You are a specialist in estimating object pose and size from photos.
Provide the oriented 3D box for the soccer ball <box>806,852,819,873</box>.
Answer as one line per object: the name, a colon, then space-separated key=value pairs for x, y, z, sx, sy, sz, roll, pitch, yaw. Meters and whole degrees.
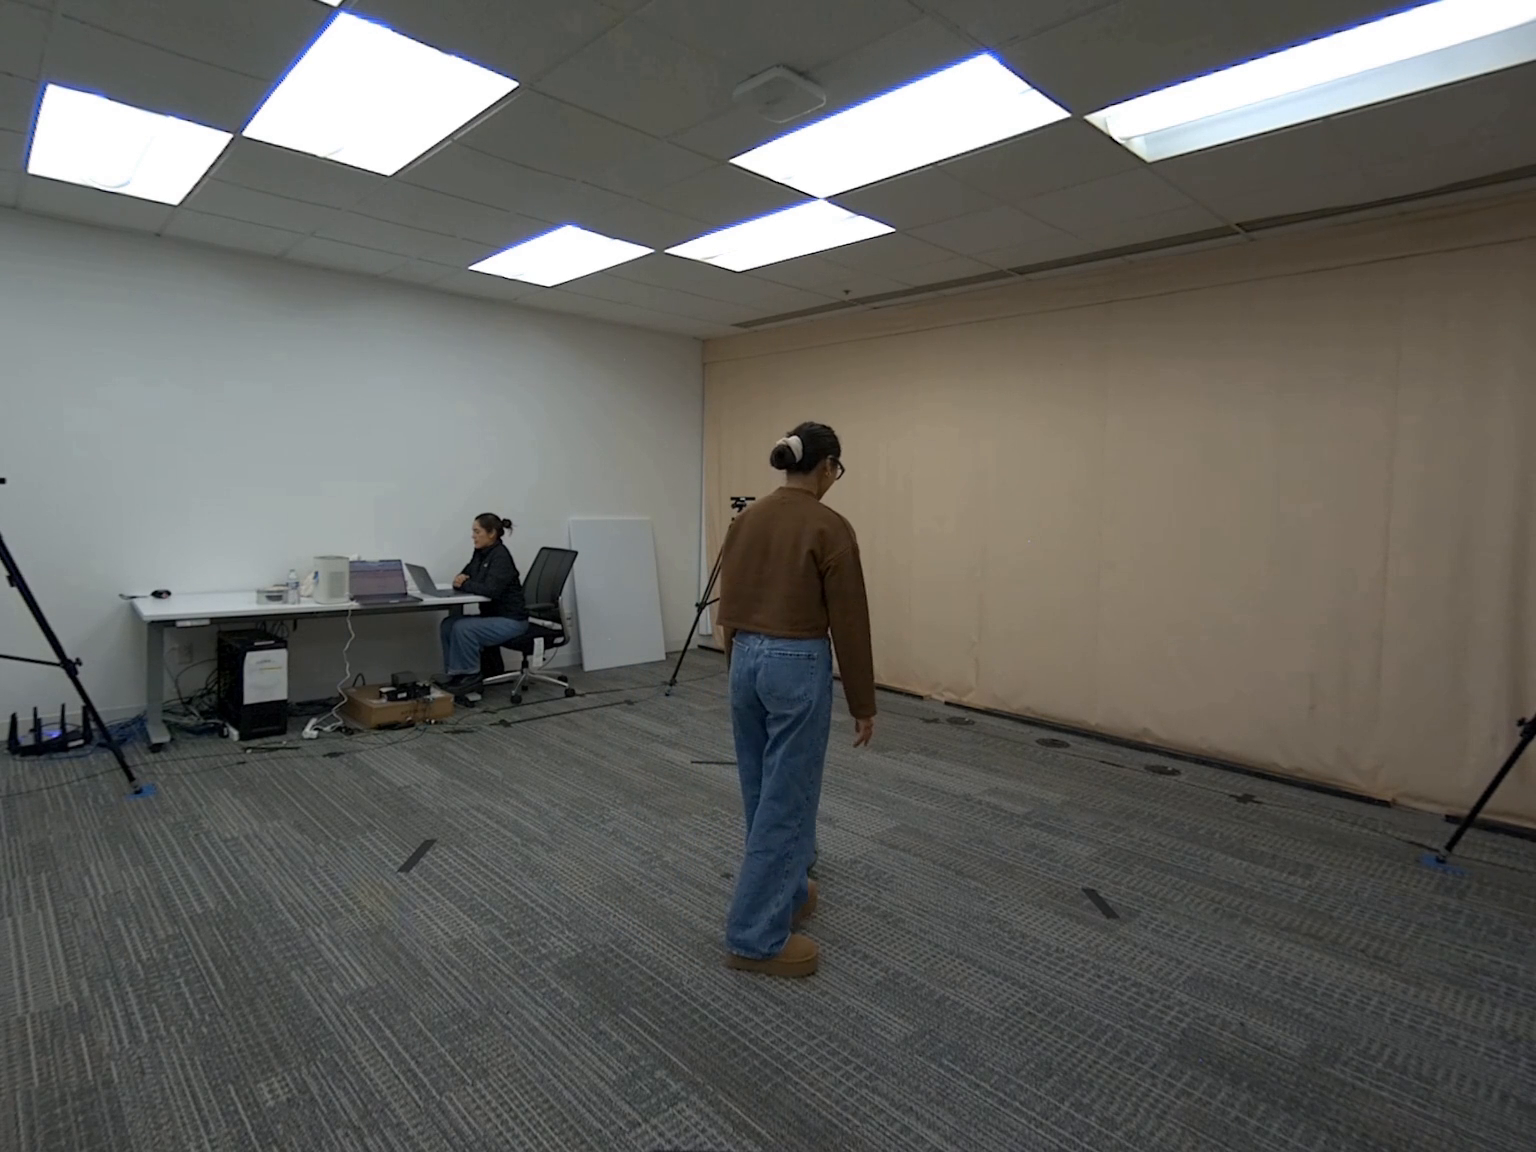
soccer ball: x=0.092 y=1.016 z=3.128 sx=0.187 sy=0.187 sz=0.188 roll=1 pitch=4 yaw=-1
